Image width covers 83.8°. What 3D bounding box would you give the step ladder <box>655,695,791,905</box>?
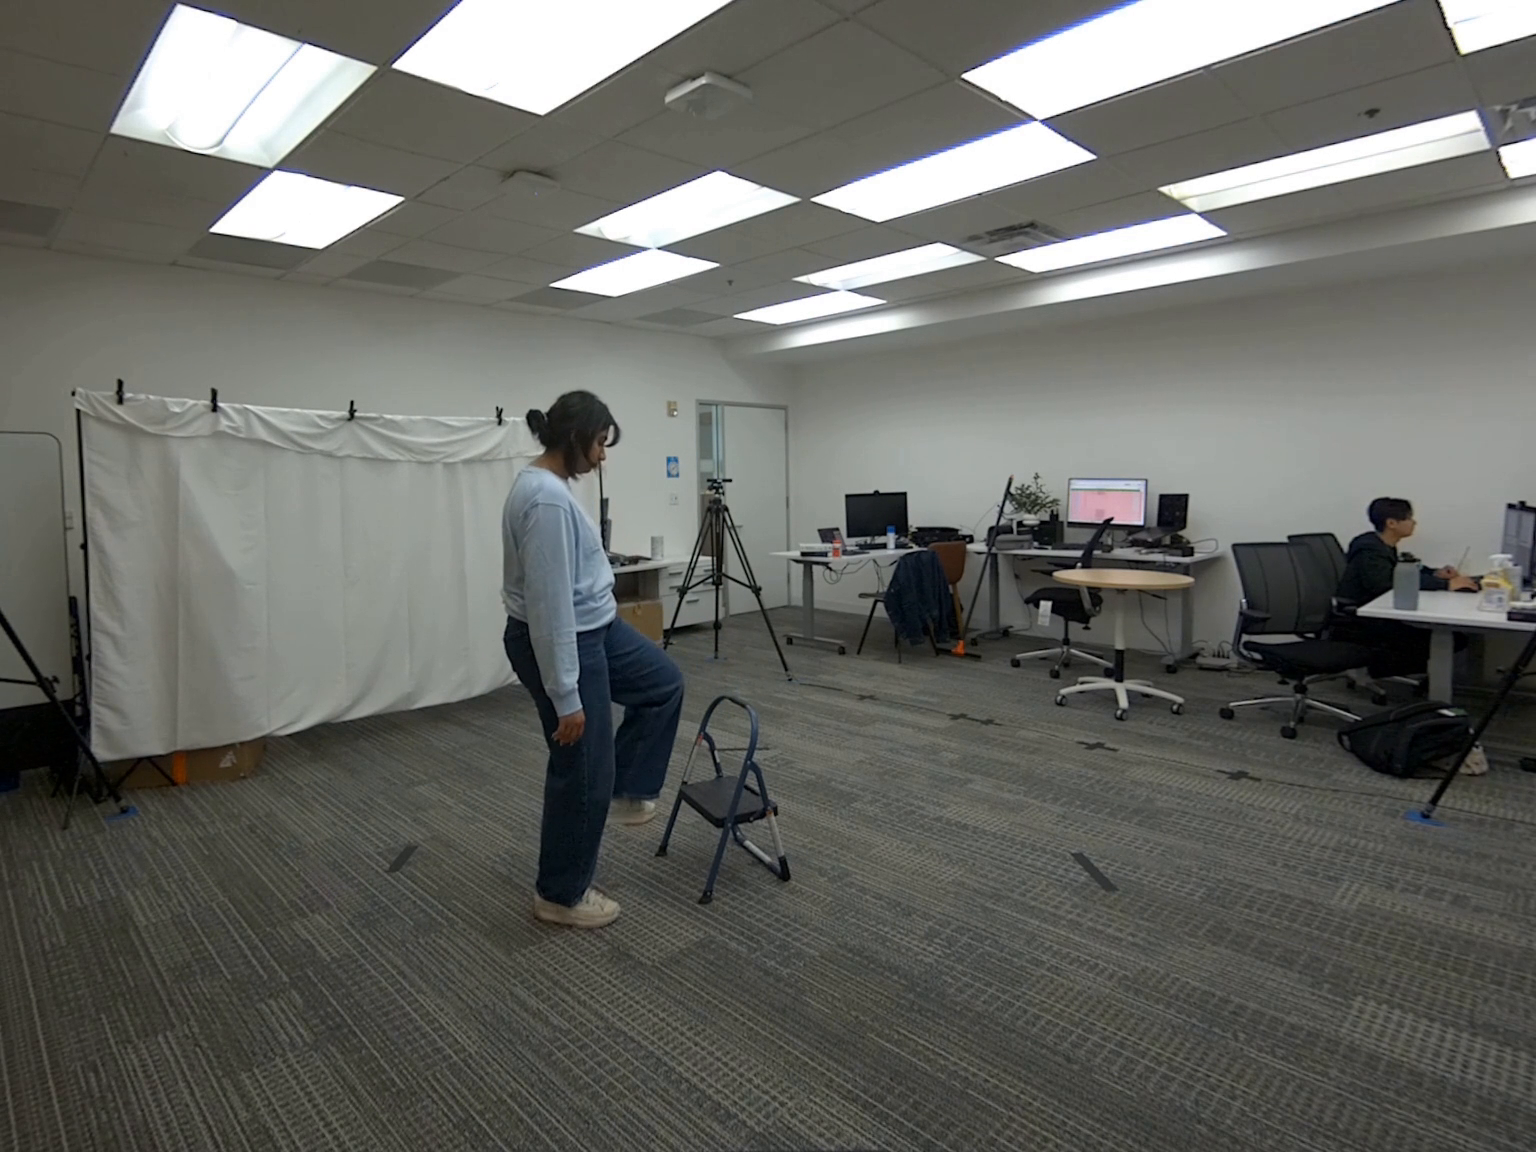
[{"bbox_3d":[-0.168,0.751,3.061,0.341,0.604,0.442,-3,5,-28],"label":"step ladder"}]
